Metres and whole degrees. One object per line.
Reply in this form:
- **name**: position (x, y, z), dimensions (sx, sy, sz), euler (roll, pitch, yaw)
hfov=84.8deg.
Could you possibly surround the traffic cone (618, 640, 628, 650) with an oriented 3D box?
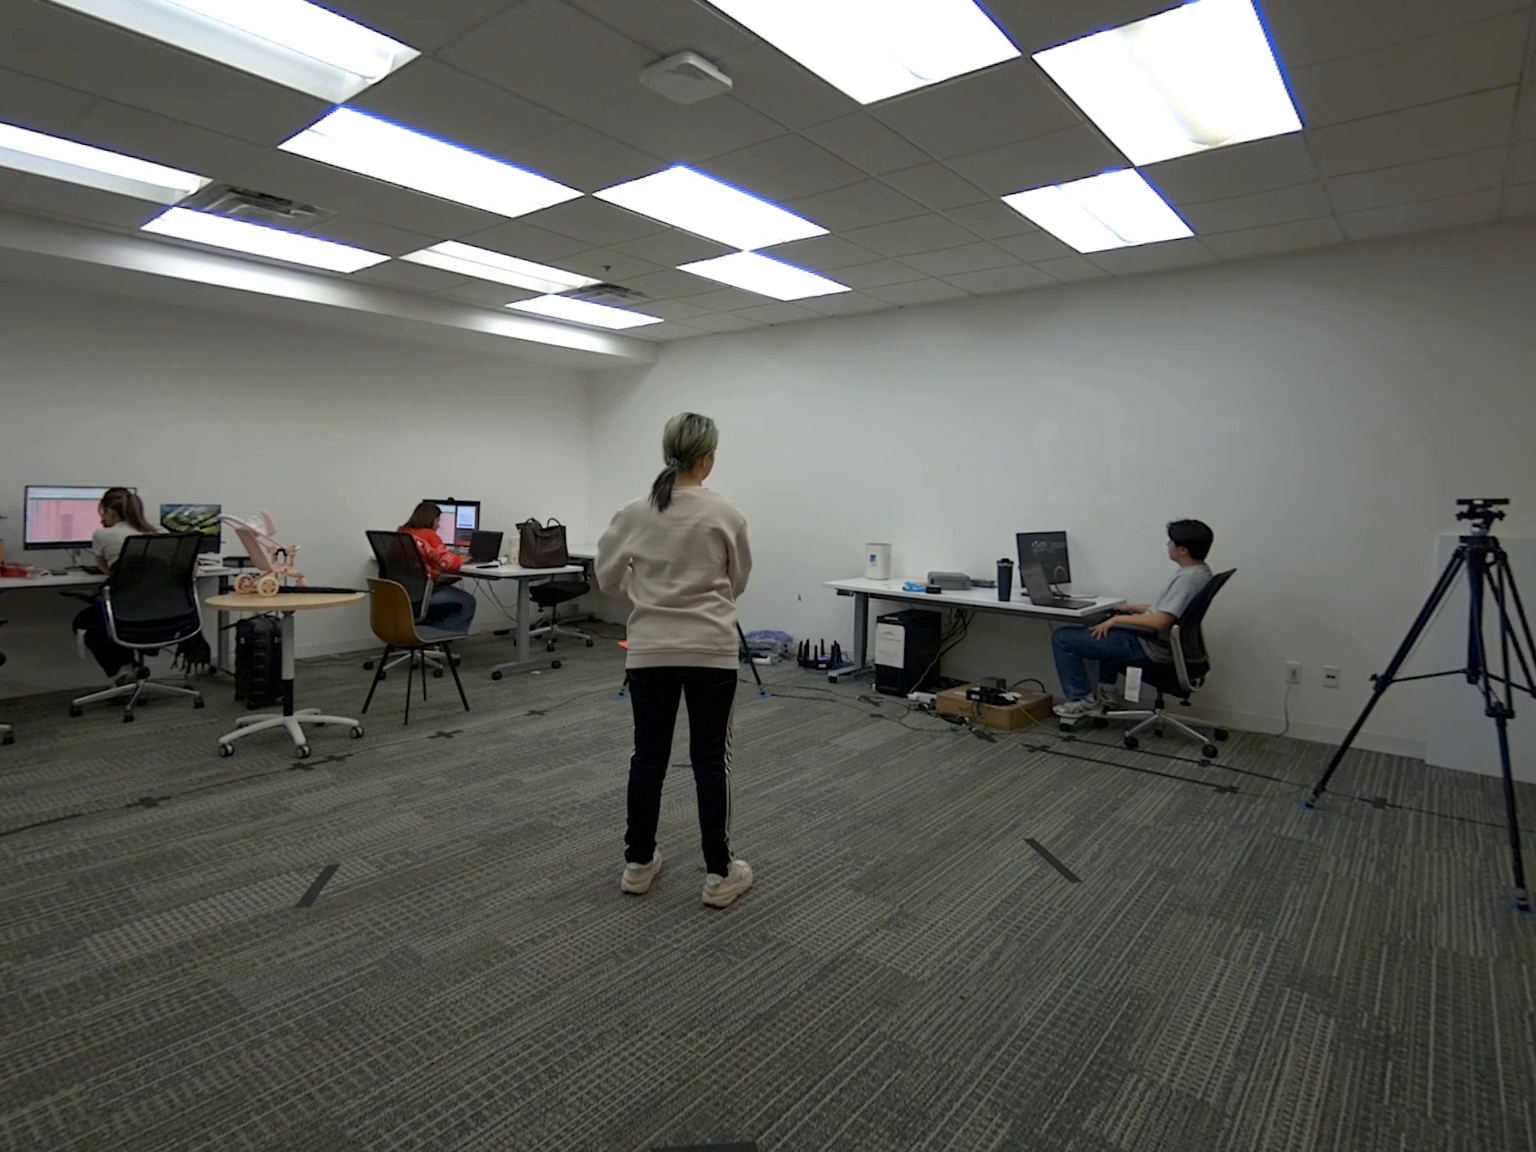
- **traffic cone**: position (-0.389, 0.111, 3.306), dimensions (0.212, 0.383, 0.197), euler (24, 6, 27)
